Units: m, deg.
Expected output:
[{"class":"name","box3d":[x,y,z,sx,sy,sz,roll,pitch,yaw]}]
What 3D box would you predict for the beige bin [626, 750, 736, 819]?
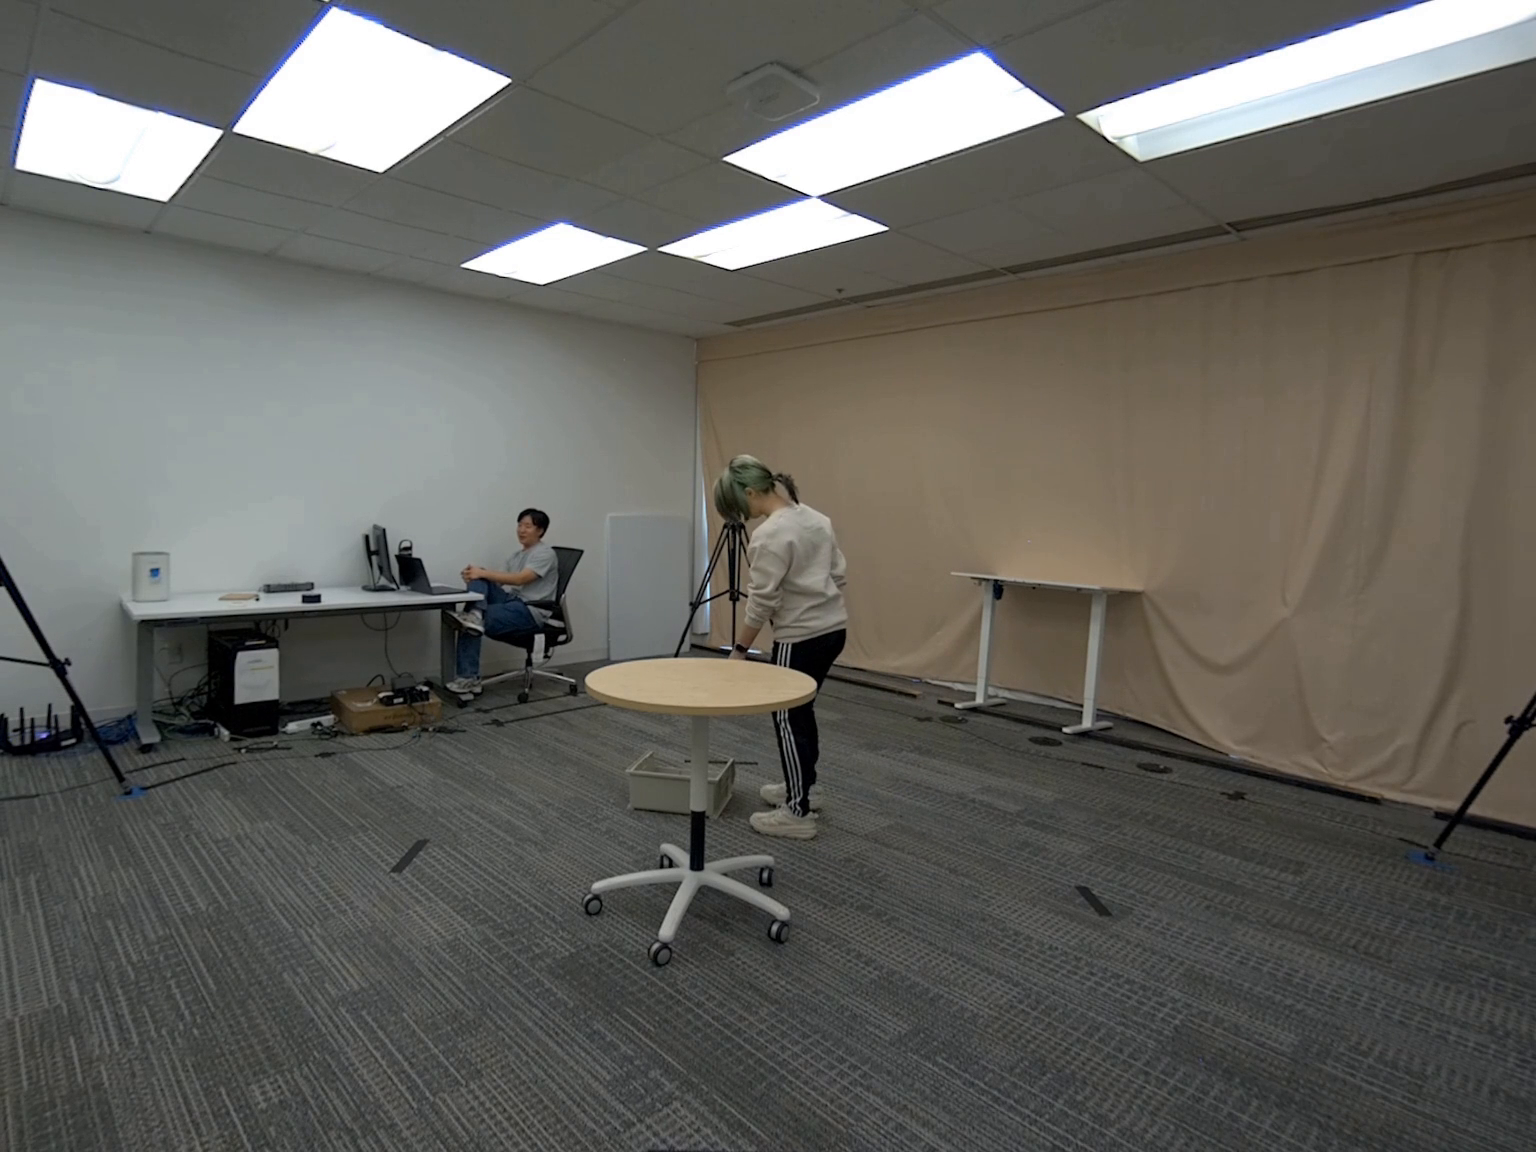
[{"class":"beige bin","box3d":[-0.400,0.937,3.855,0.426,0.188,0.375,3,6,11]}]
